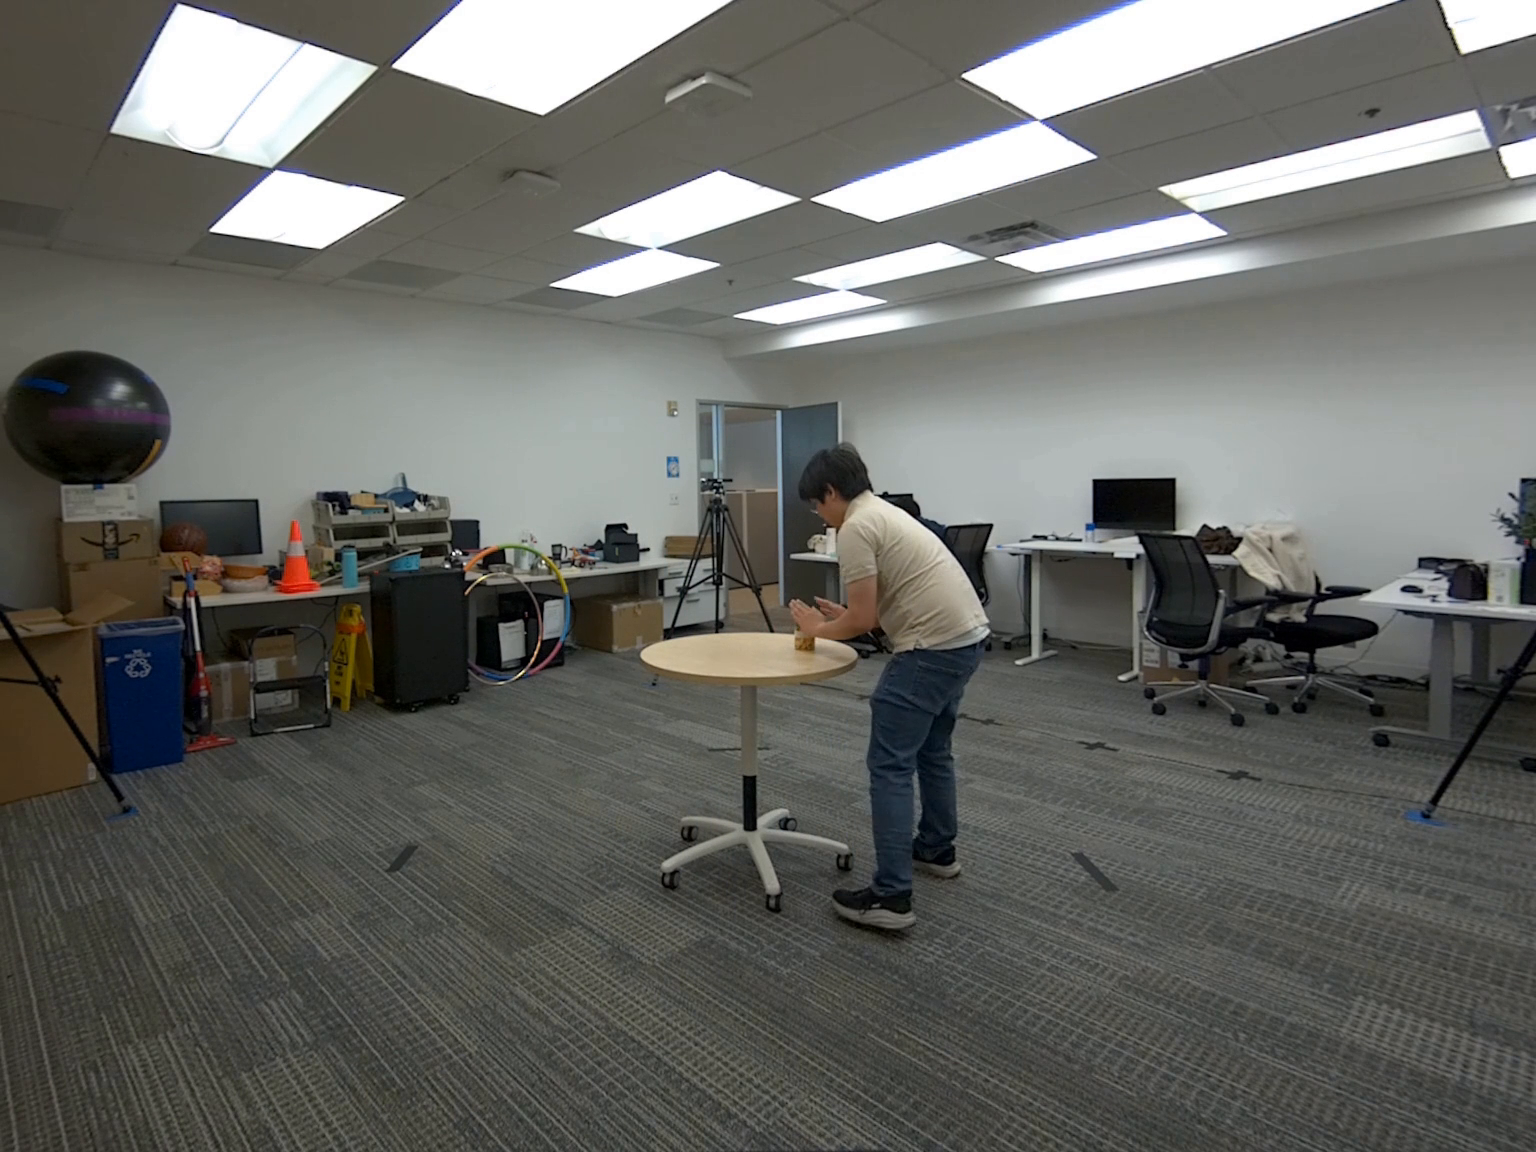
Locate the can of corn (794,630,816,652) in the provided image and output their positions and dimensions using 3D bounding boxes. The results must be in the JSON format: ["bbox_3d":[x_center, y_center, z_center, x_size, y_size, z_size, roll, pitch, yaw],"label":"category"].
[{"bbox_3d":[0.144,0.209,3.079,0.074,0.110,0.074,0,4,-2],"label":"can of corn"}]
